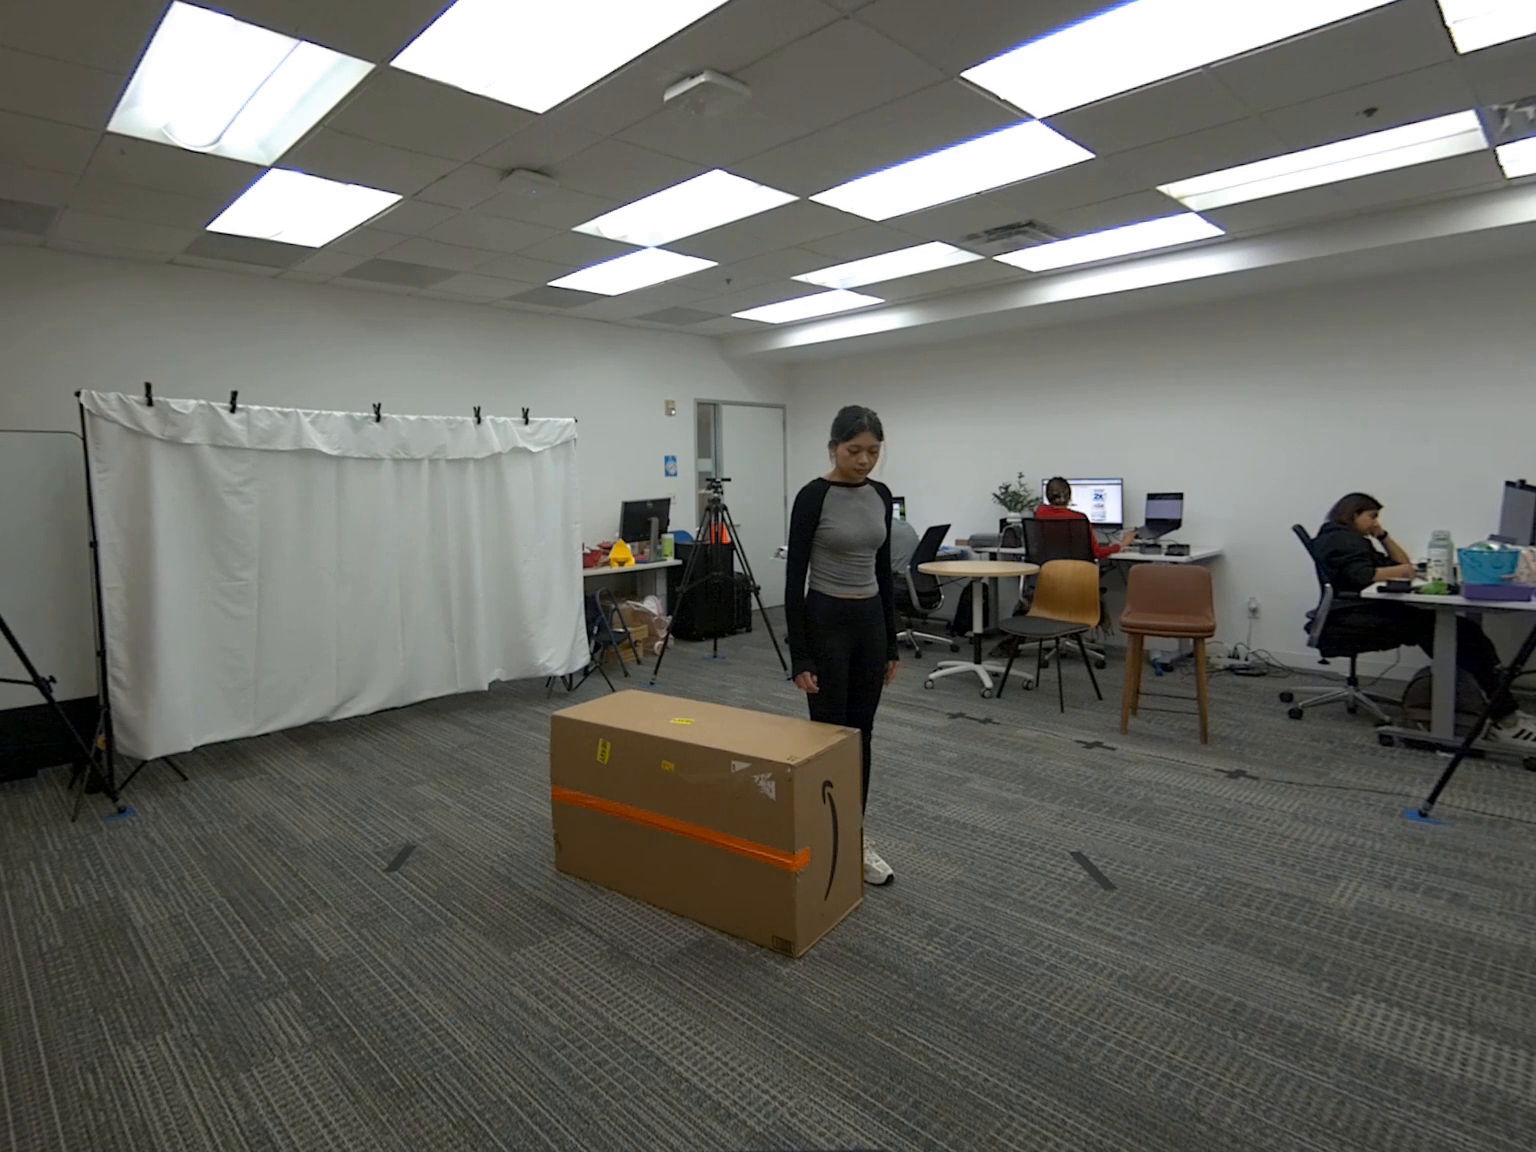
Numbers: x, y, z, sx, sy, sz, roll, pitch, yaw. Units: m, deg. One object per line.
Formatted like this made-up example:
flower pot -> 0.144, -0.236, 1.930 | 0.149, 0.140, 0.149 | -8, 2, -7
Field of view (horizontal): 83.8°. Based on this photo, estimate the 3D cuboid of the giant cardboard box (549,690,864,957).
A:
giant cardboard box -> -0.236, 0.781, 2.926 | 1.056, 0.575, 0.415 | 3, 5, 36
